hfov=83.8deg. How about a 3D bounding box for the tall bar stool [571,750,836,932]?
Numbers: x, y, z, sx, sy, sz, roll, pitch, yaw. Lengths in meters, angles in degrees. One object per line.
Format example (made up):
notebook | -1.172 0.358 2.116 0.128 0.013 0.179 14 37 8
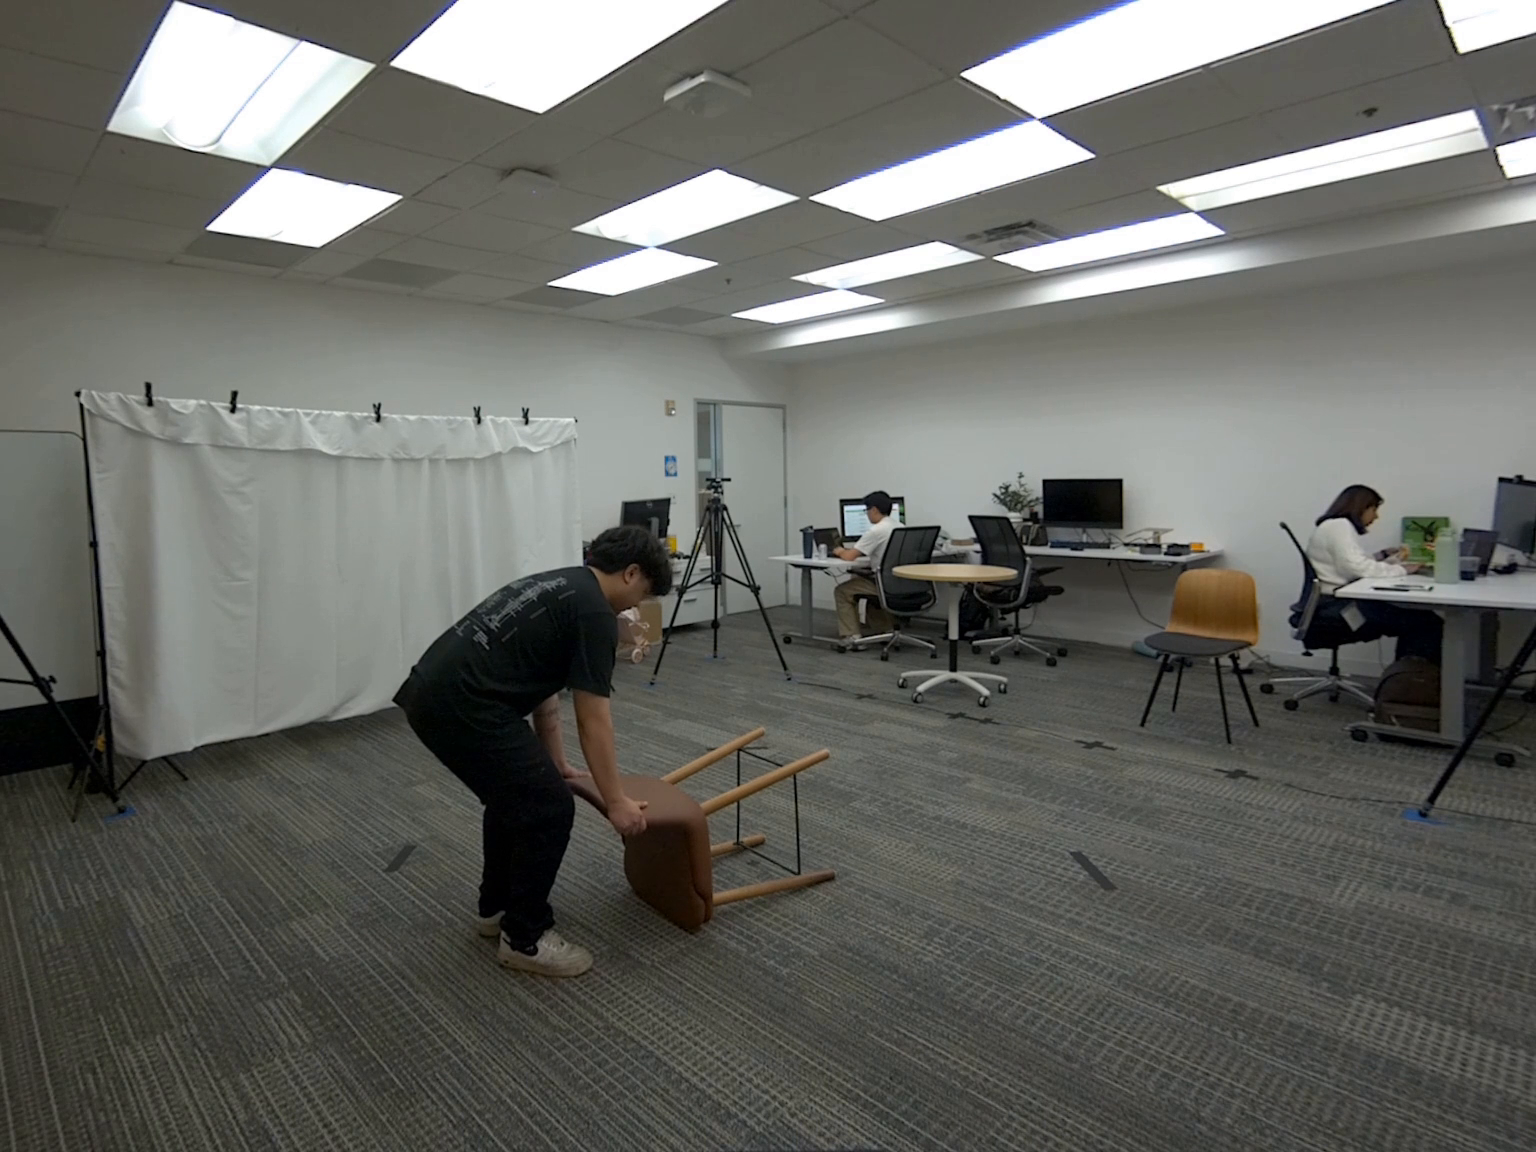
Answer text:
tall bar stool | -0.230 0.848 2.855 0.866 0.466 0.470 -5 6 -39
